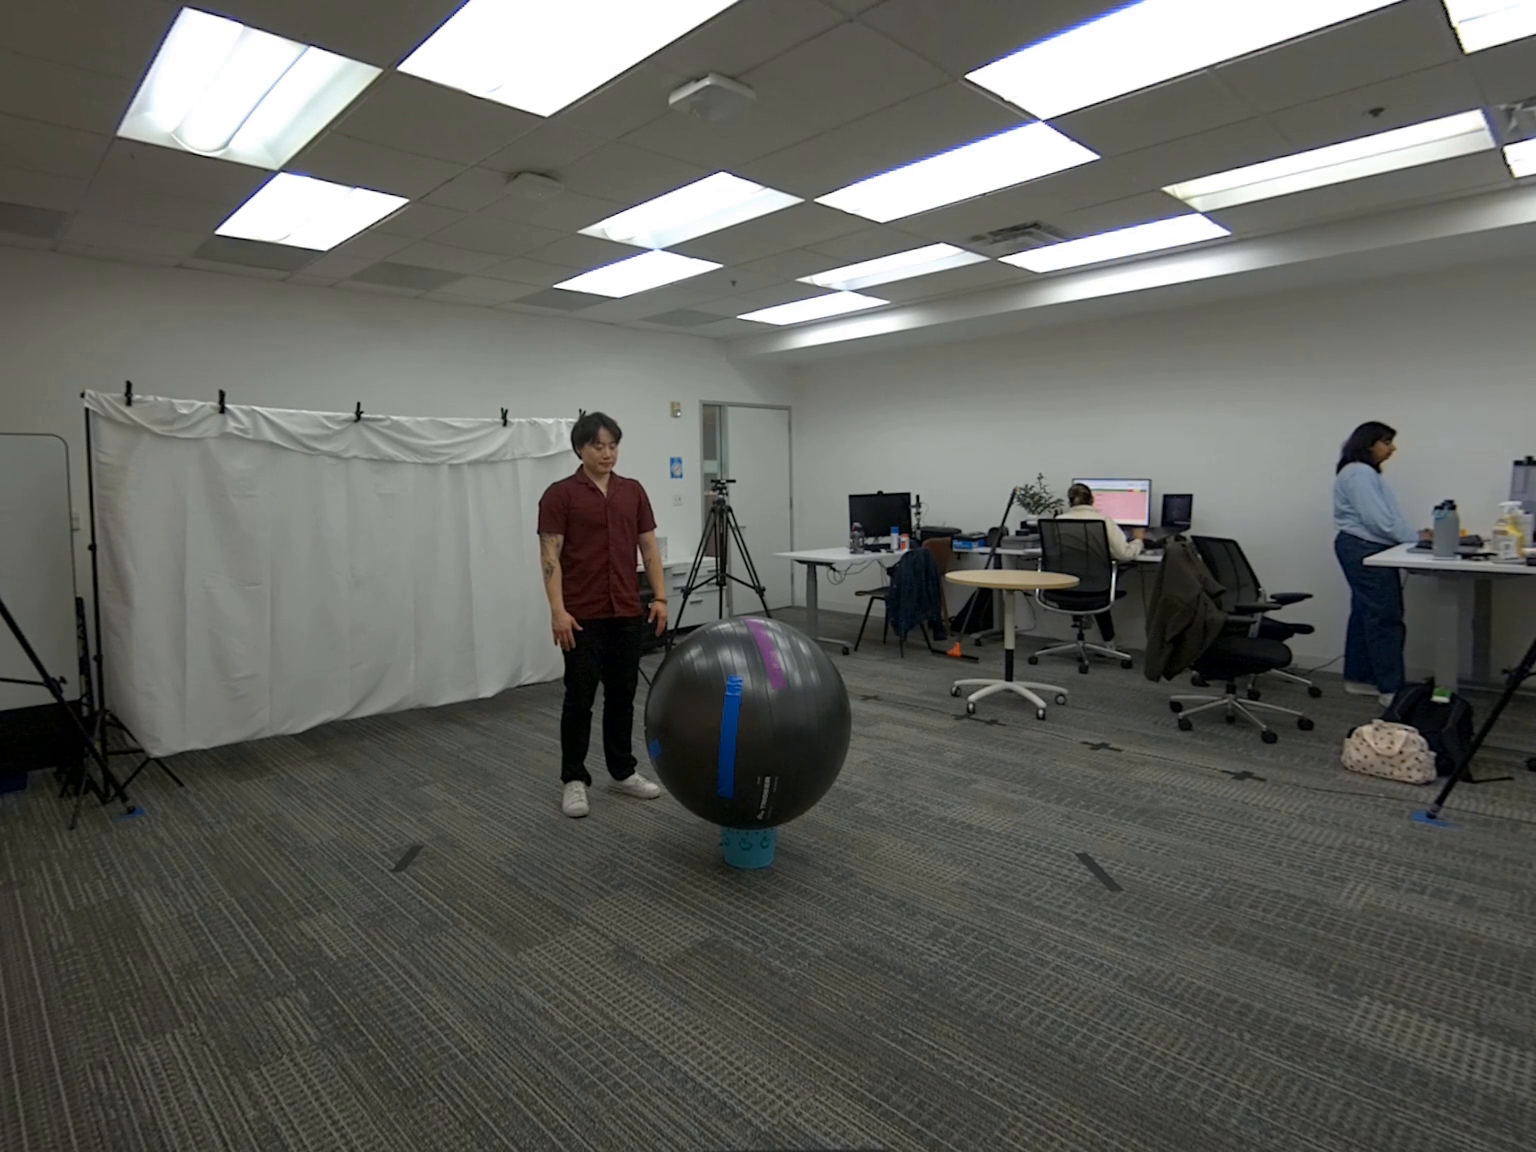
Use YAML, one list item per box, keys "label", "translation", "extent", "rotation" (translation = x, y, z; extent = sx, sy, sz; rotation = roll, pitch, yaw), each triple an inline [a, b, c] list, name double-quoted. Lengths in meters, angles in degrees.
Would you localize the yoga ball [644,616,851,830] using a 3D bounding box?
- label: "yoga ball"
  translation: [-0.073, 0.532, 3.136]
  extent: [0.757, 0.755, 0.762]
  rotation: [-1, 5, -2]
